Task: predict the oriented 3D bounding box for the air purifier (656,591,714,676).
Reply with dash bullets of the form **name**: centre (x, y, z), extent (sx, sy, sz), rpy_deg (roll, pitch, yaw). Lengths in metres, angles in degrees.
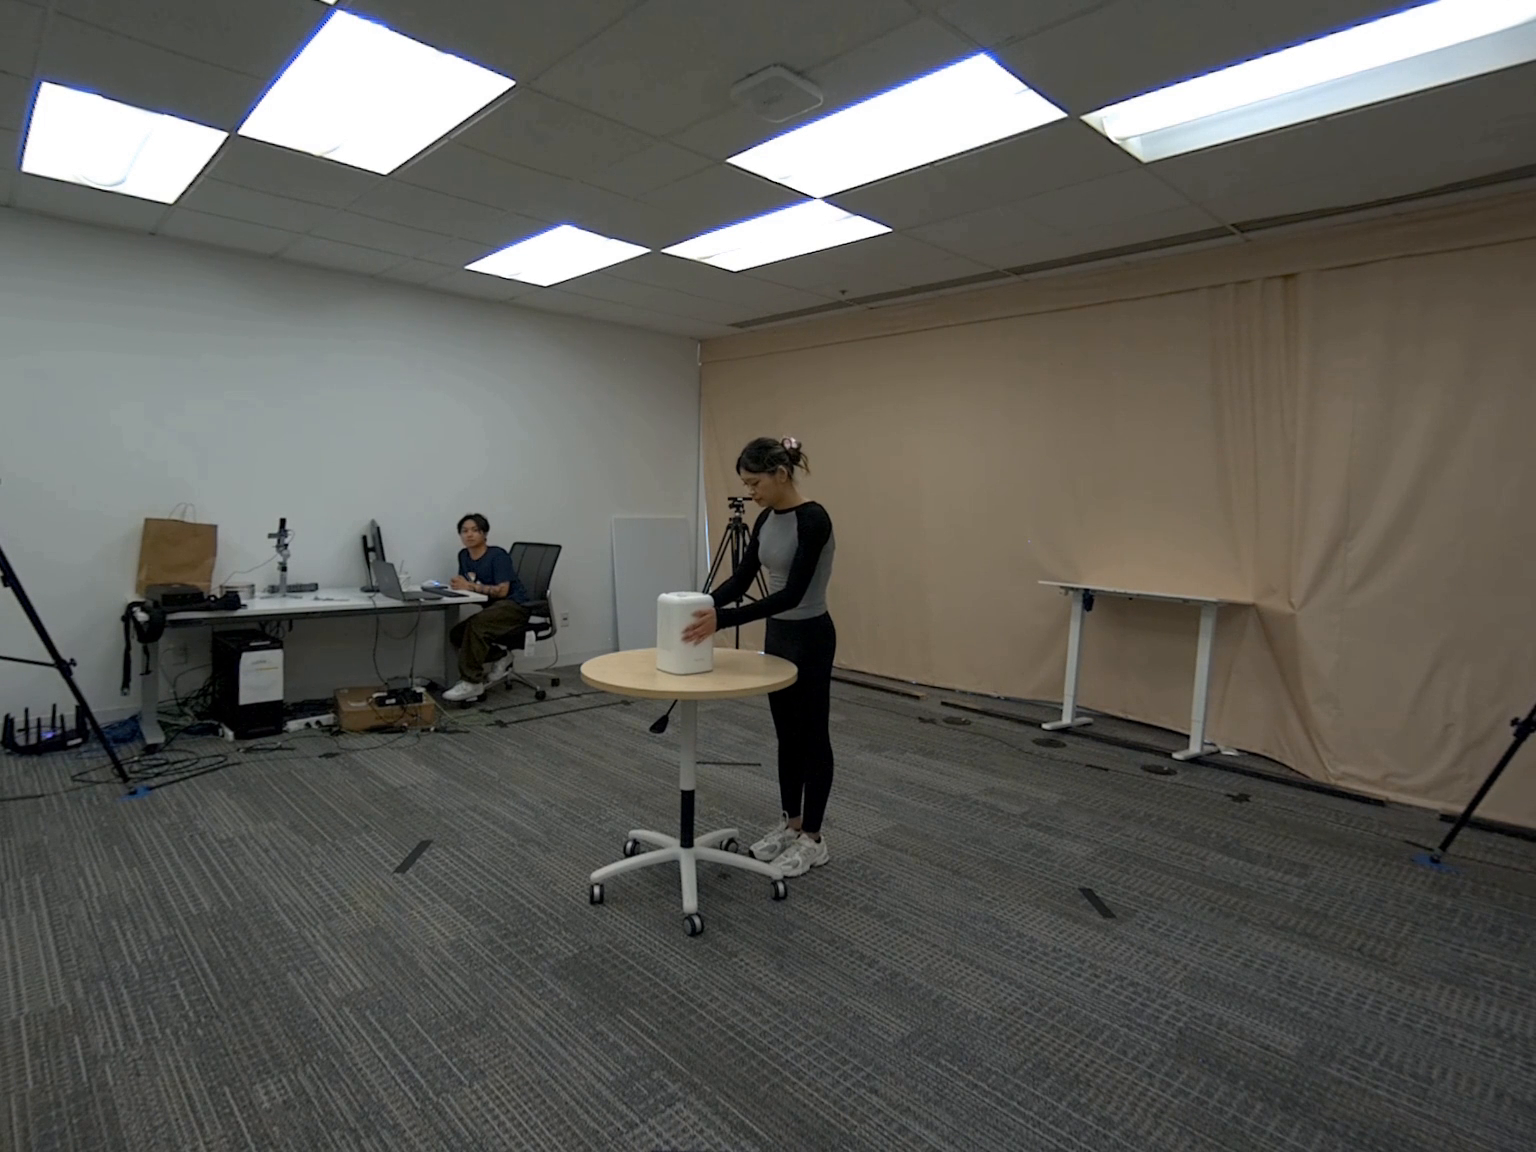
- **air purifier**: centre (-0.291, 0.194, 2.927), extent (0.167, 0.264, 0.176), rpy_deg (-2, 5, -39)
